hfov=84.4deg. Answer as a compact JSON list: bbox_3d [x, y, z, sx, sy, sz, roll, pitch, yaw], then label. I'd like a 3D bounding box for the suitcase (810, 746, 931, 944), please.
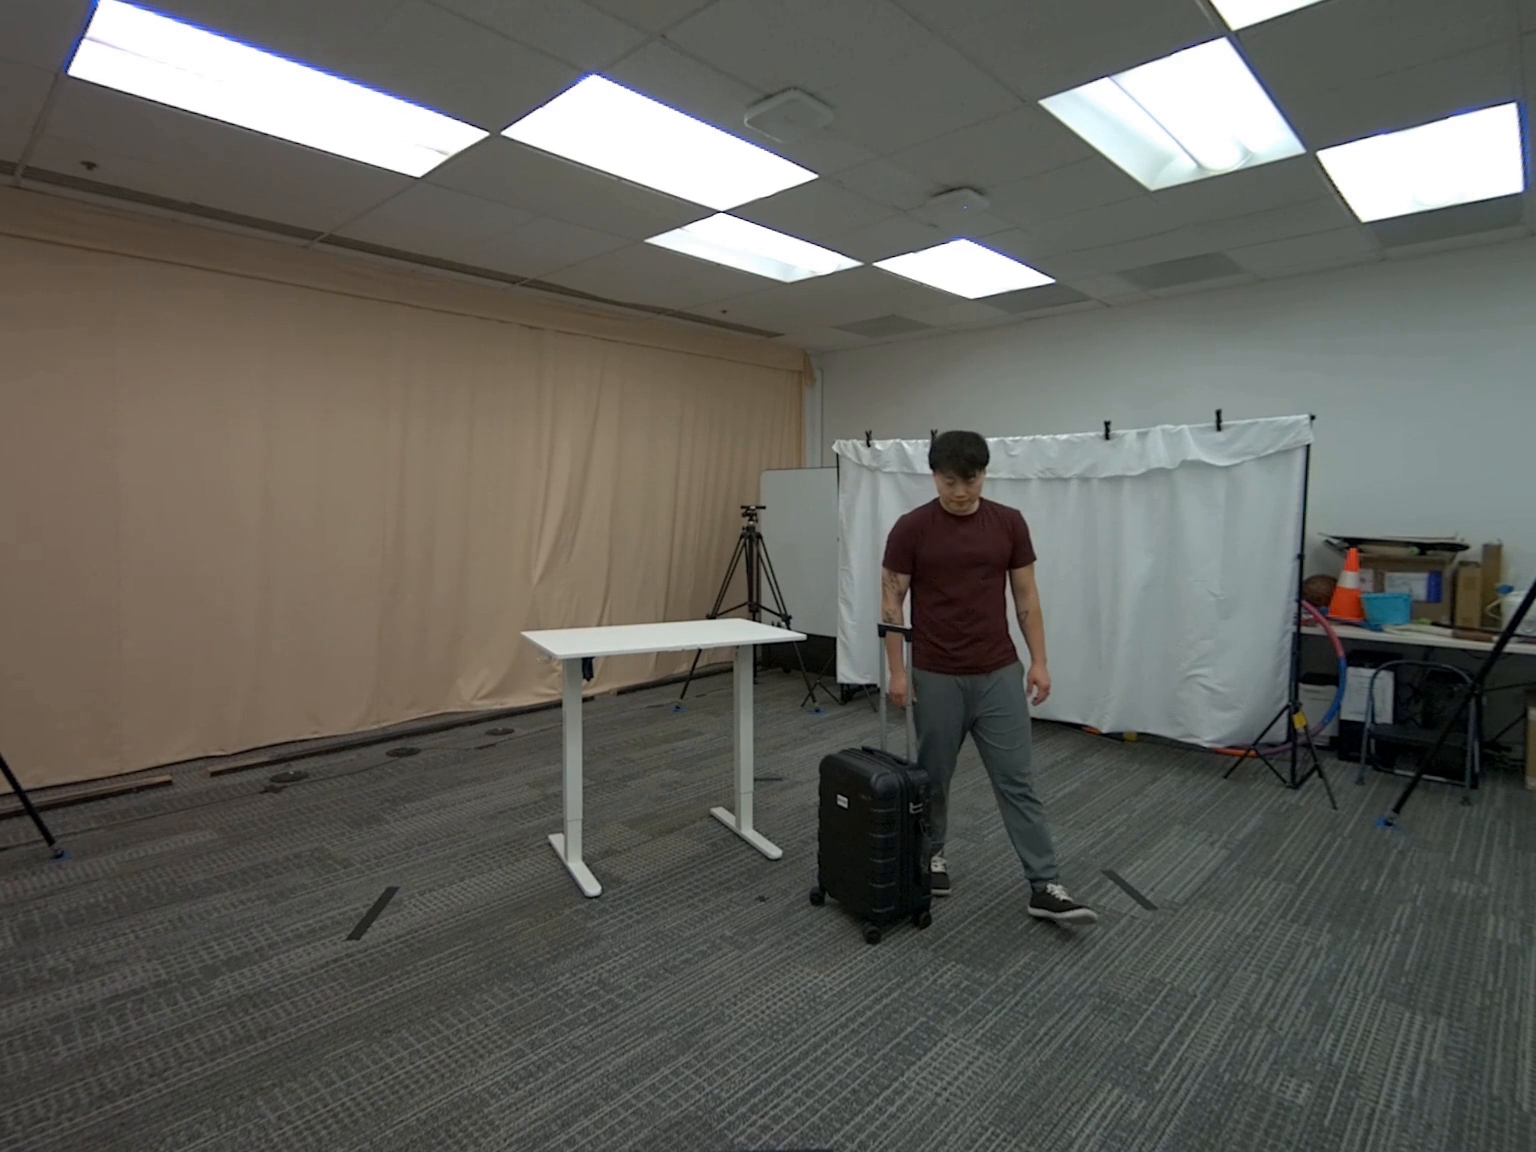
[{"bbox_3d":[0.357,0.676,2.838,0.250,0.976,0.395,-3,4,-28],"label":"suitcase"}]
